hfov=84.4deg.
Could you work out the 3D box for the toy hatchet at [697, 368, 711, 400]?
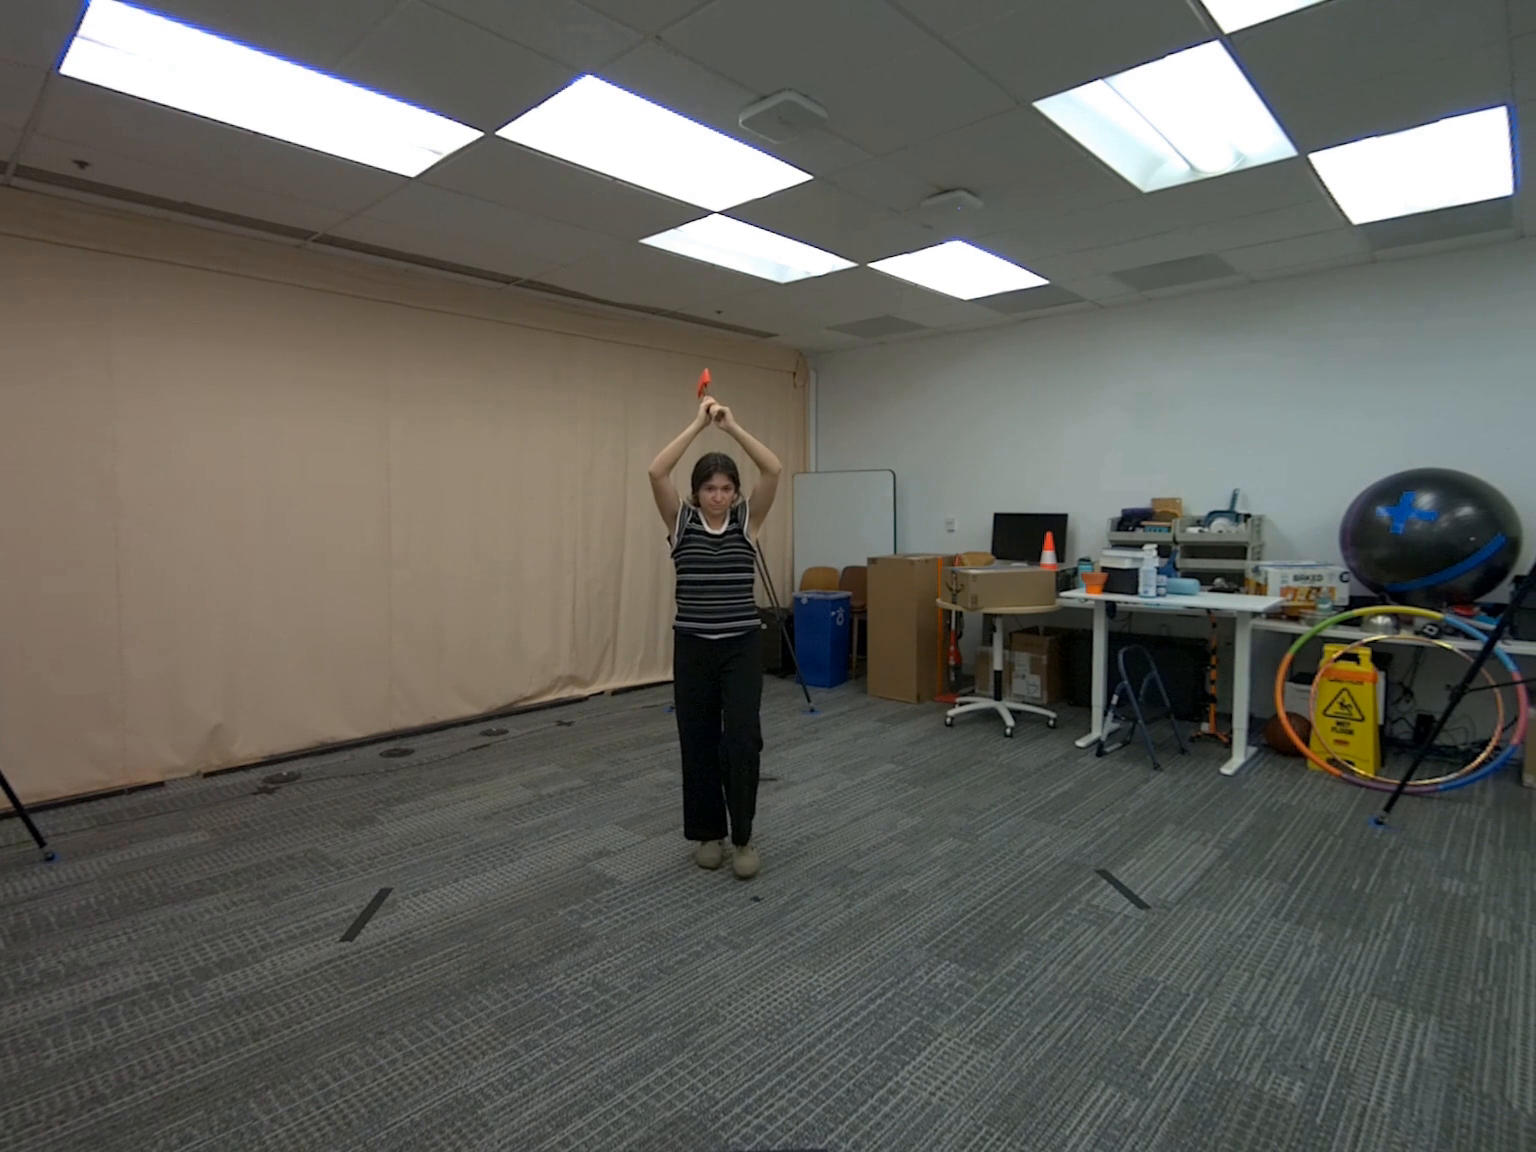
[{"bbox_3d":[-0.210,-0.680,3.128,0.029,0.130,0.279,-1,29,-25],"label":"toy hatchet"}]
